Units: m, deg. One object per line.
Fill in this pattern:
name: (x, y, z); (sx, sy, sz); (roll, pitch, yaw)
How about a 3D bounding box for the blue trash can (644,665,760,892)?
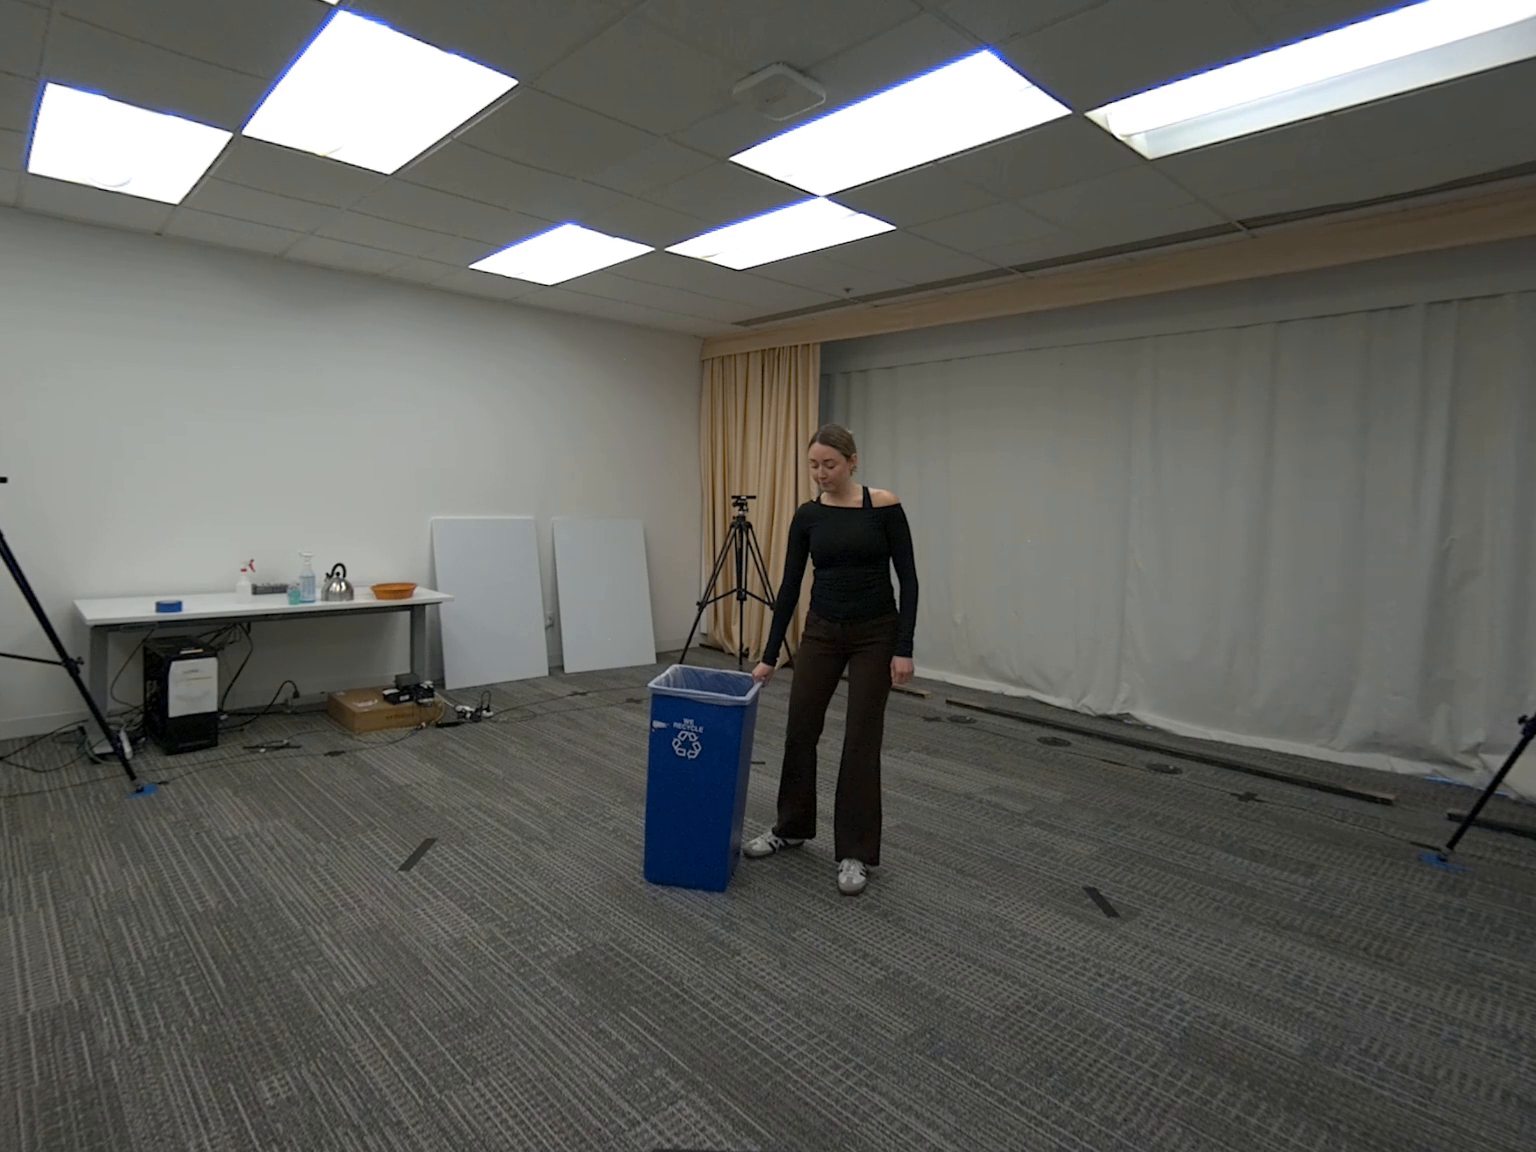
blue trash can: (-0.242, 0.733, 3.100); (0.378, 0.711, 0.375); (5, 5, 11)
